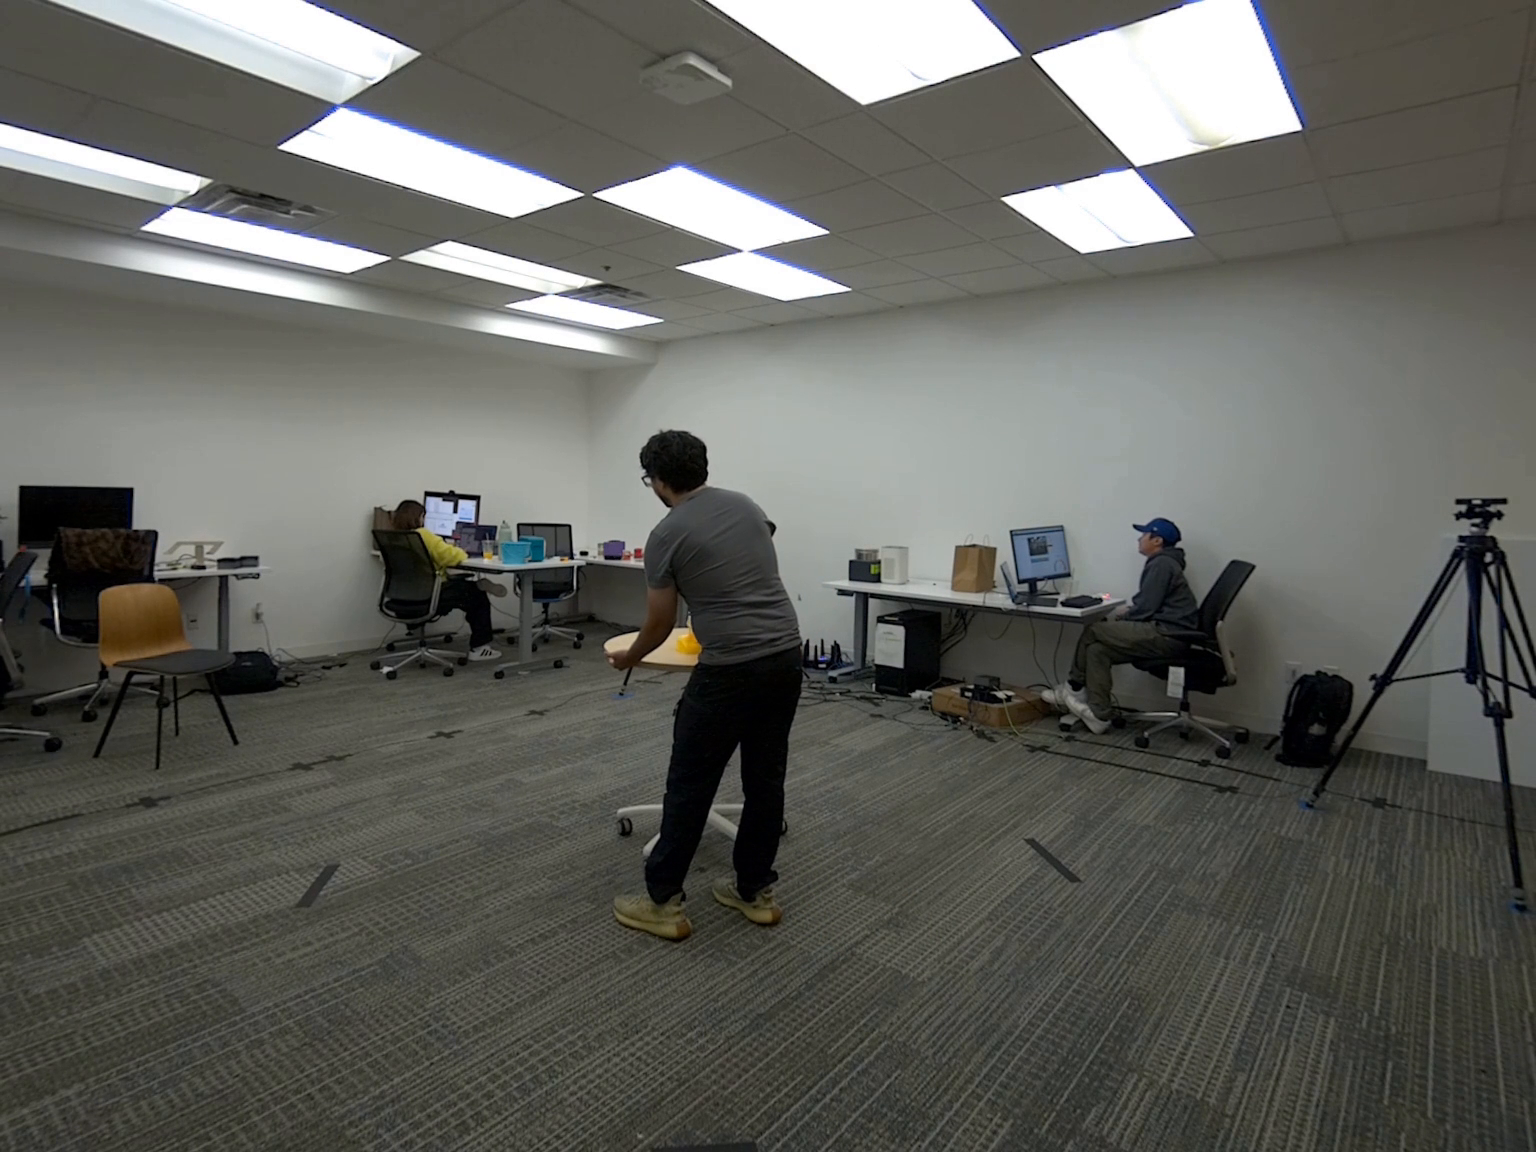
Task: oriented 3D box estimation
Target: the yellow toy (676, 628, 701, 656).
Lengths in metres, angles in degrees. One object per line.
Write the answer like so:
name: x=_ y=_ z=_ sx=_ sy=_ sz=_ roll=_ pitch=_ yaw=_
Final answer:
yellow toy: x=-0.254 y=0.162 z=3.218 sx=0.199 sy=0.230 sz=0.199 roll=-2 pitch=6 yaw=-35
